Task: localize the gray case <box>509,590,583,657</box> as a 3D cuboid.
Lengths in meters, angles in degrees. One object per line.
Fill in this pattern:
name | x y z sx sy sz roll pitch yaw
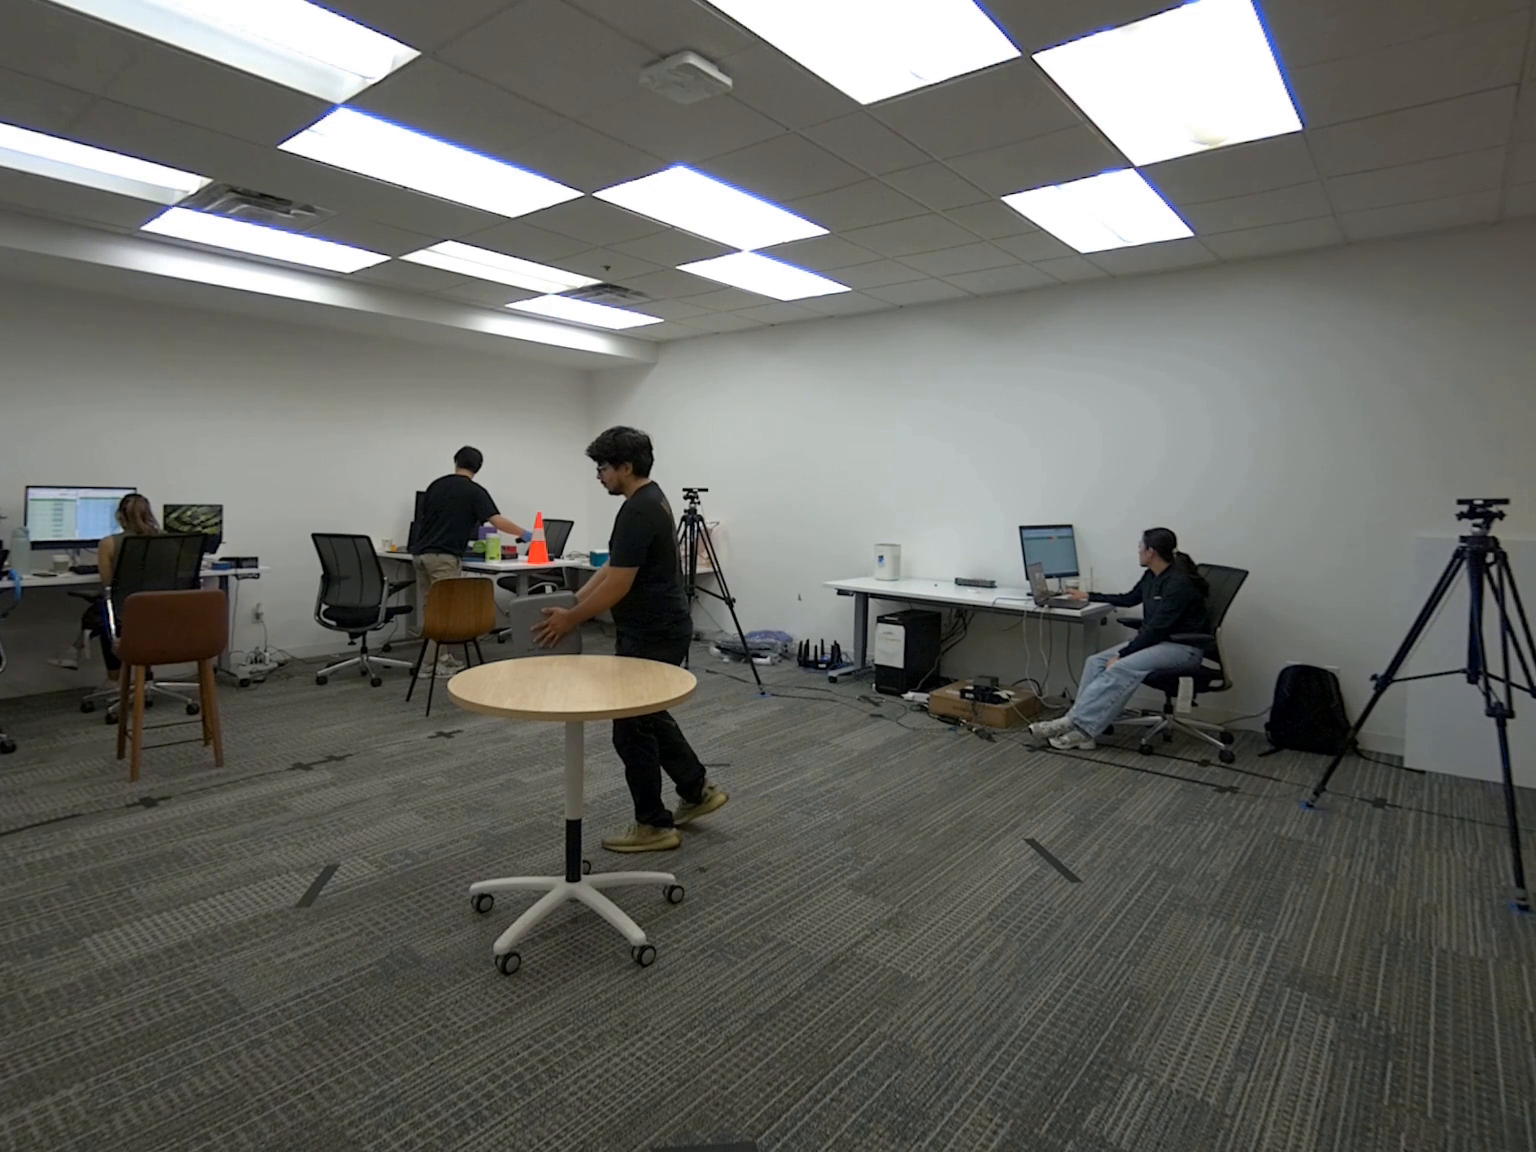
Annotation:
gray case | -0.871 0.191 3.283 0.255 0.260 0.105 -6 3 -5
